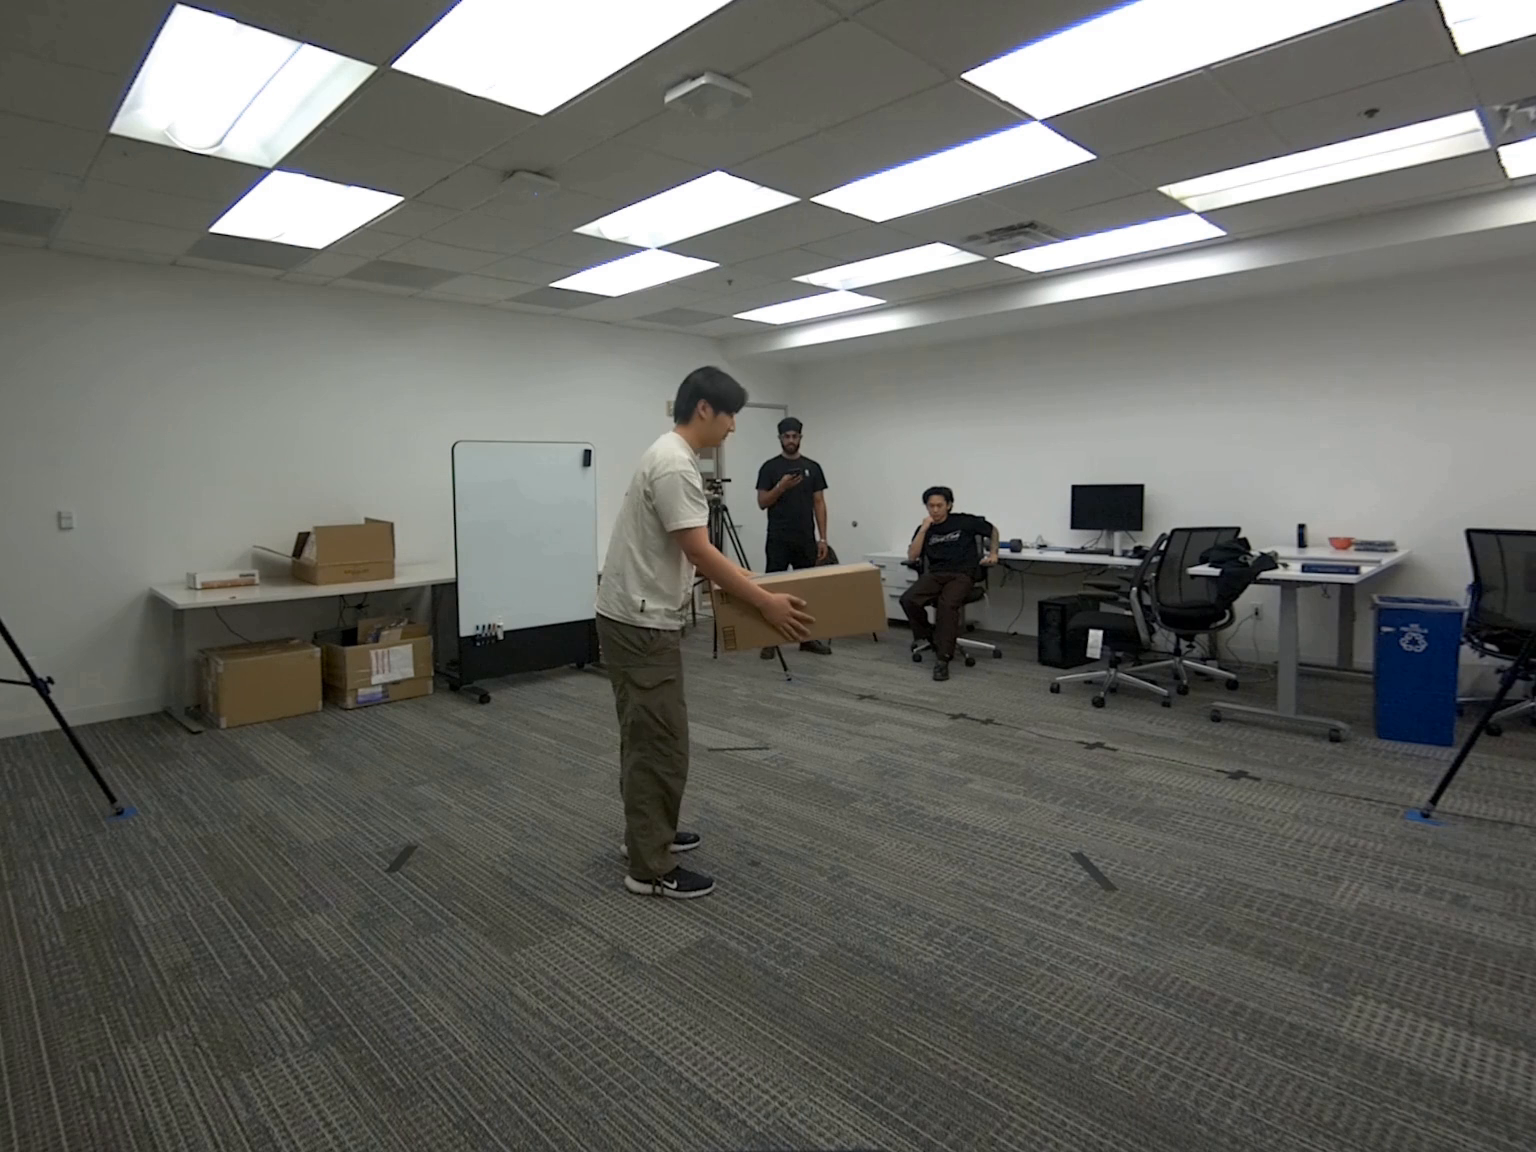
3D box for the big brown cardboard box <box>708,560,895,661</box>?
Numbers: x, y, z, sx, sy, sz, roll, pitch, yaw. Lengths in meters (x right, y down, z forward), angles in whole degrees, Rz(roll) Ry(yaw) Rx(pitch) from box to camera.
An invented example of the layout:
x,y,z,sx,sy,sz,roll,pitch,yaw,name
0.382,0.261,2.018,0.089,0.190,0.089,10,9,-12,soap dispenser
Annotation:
x,y,z,sx,sy,sz,roll,pitch,yaw,name
0.097,0.108,3.065,0.588,0.232,0.419,-8,4,-2,big brown cardboard box
